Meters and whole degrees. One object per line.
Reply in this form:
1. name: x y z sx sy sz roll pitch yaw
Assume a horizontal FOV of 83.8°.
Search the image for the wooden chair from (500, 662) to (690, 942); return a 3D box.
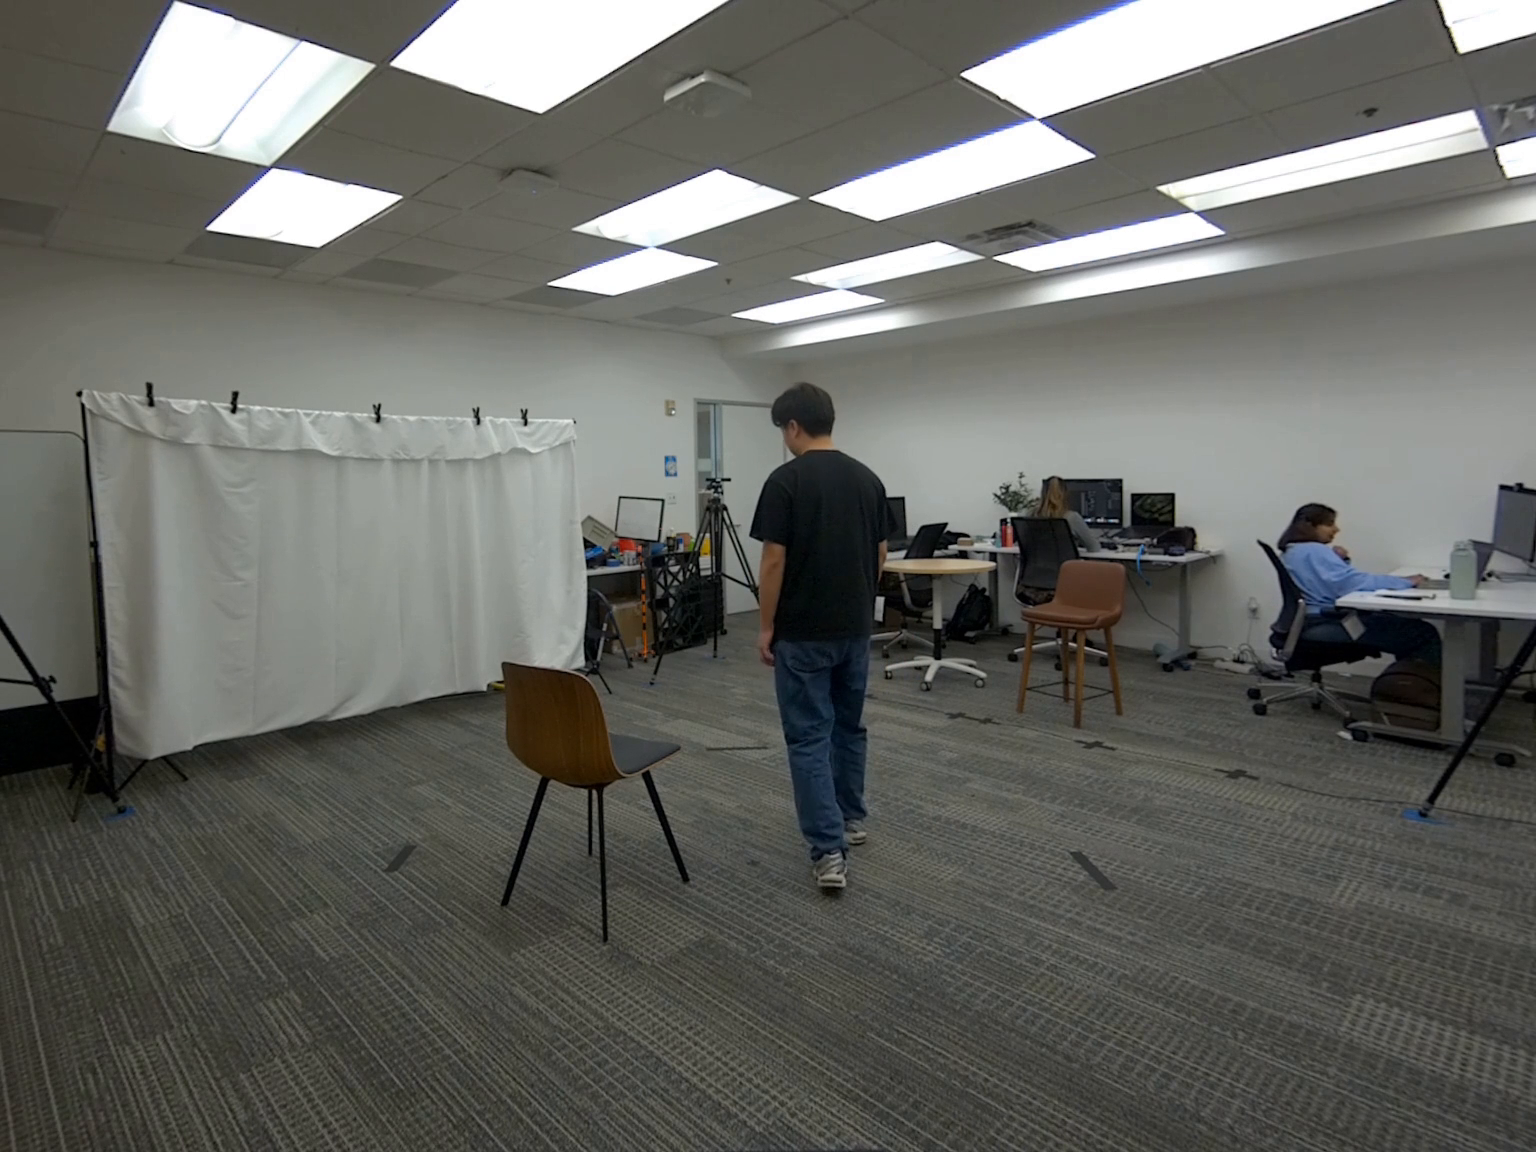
1. wooden chair: -0.575 0.652 2.869 0.491 0.871 0.513 2 9 31
